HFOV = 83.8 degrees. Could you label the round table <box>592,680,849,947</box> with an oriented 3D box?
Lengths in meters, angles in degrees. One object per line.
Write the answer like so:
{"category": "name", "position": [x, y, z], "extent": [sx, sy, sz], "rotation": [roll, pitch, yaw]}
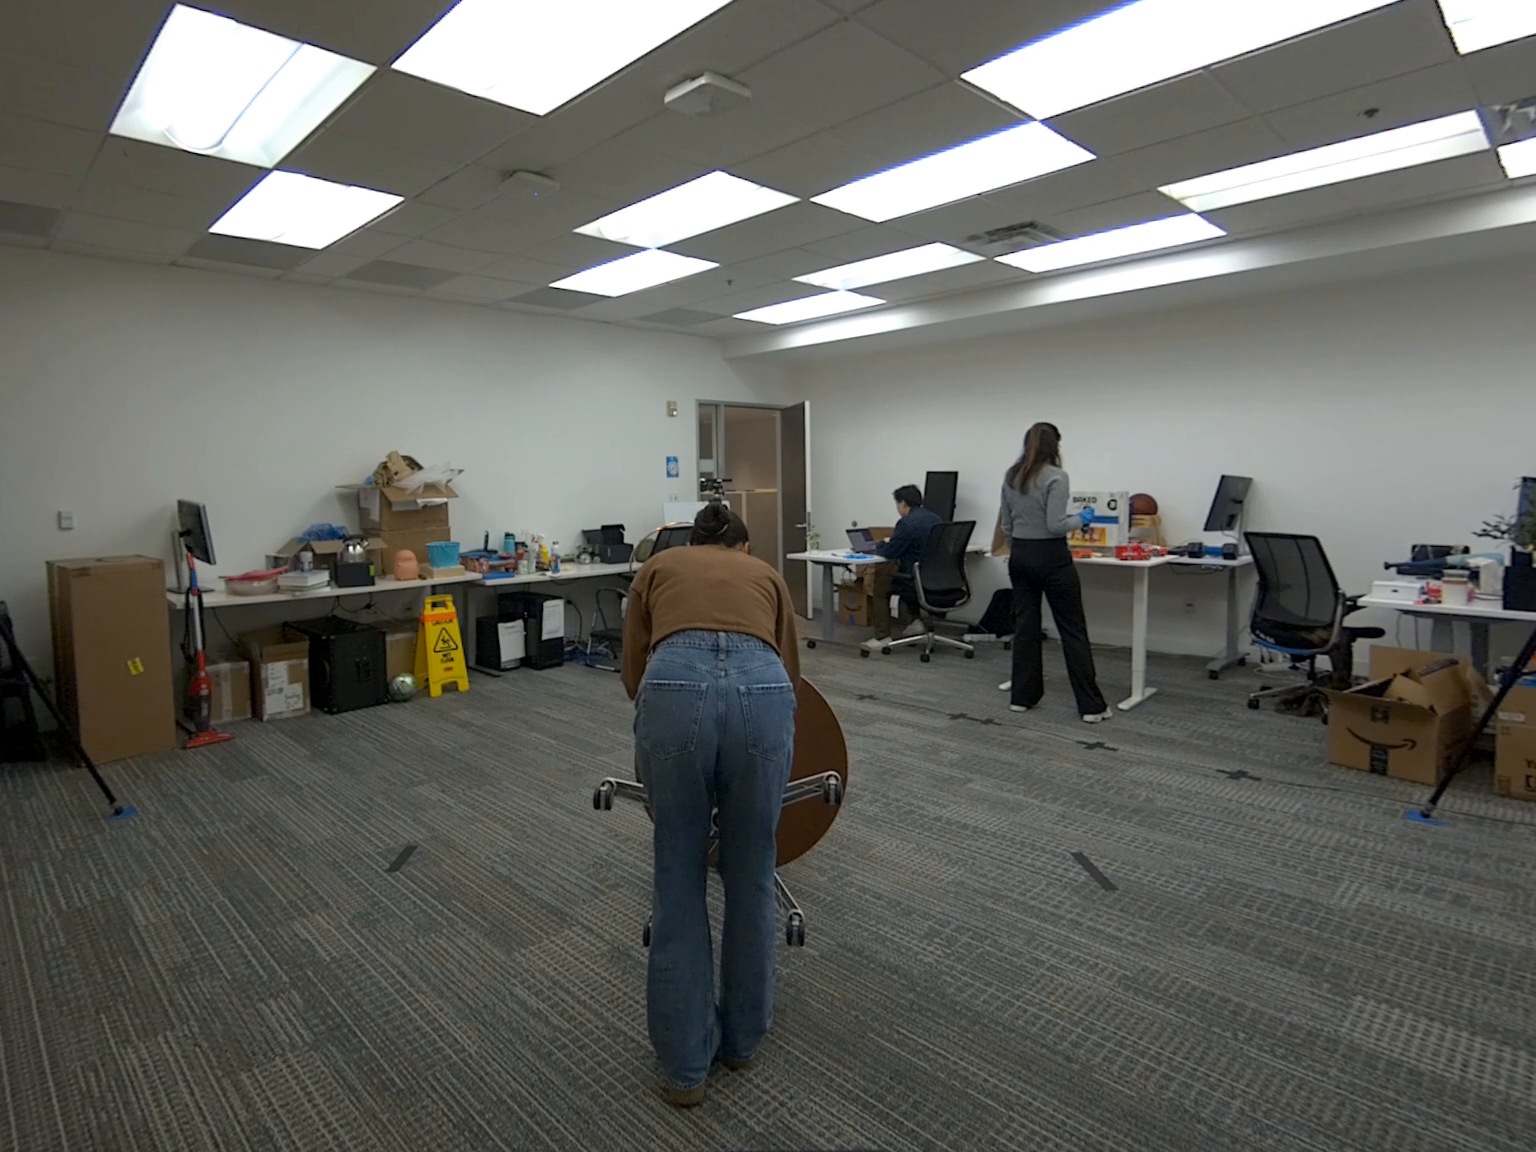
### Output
{"category": "round table", "position": [-0.110, 0.675, 2.673], "extent": [0.768, 0.765, 0.789], "rotation": [0, -1, 4]}
